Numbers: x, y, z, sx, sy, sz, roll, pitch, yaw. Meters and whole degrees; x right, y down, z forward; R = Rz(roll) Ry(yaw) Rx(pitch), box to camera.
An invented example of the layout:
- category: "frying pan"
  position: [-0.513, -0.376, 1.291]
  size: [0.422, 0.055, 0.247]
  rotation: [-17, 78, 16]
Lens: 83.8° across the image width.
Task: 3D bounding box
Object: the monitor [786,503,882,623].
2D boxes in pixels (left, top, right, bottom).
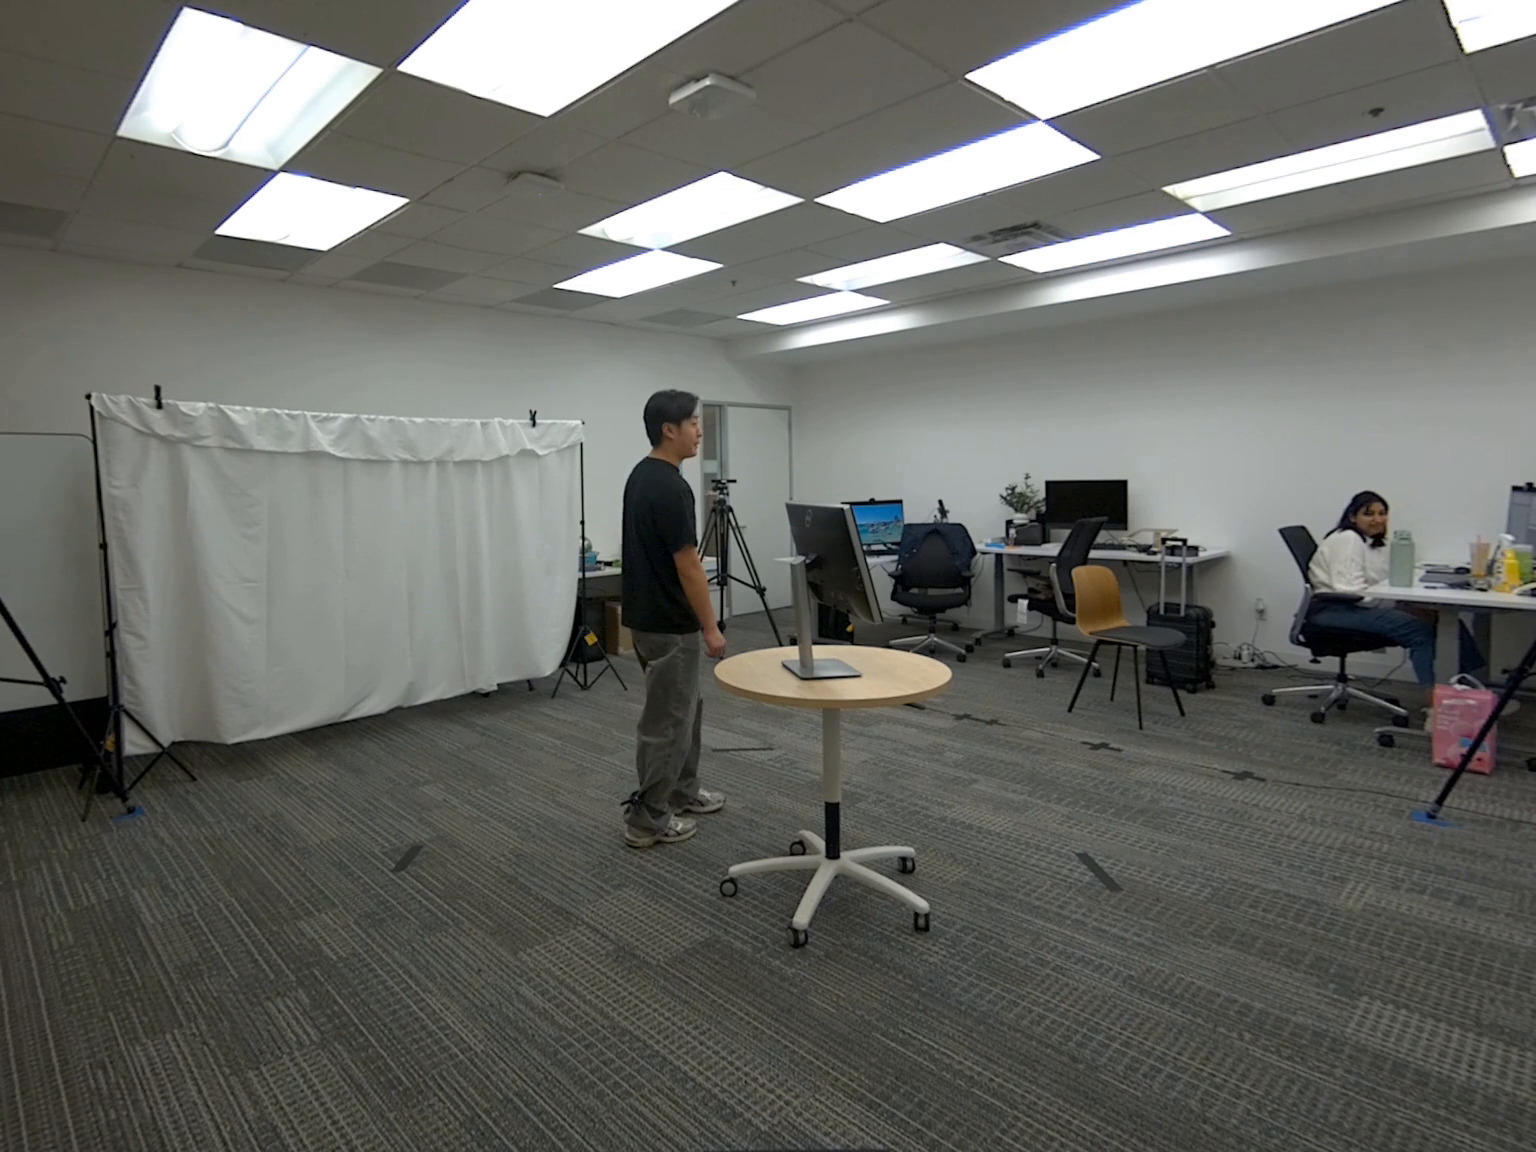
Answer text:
- category: "monitor"
  position: [0.180, 0.045, 2.754]
  size: [0.220, 0.563, 0.571]
  rotation: [-1, 5, -13]
